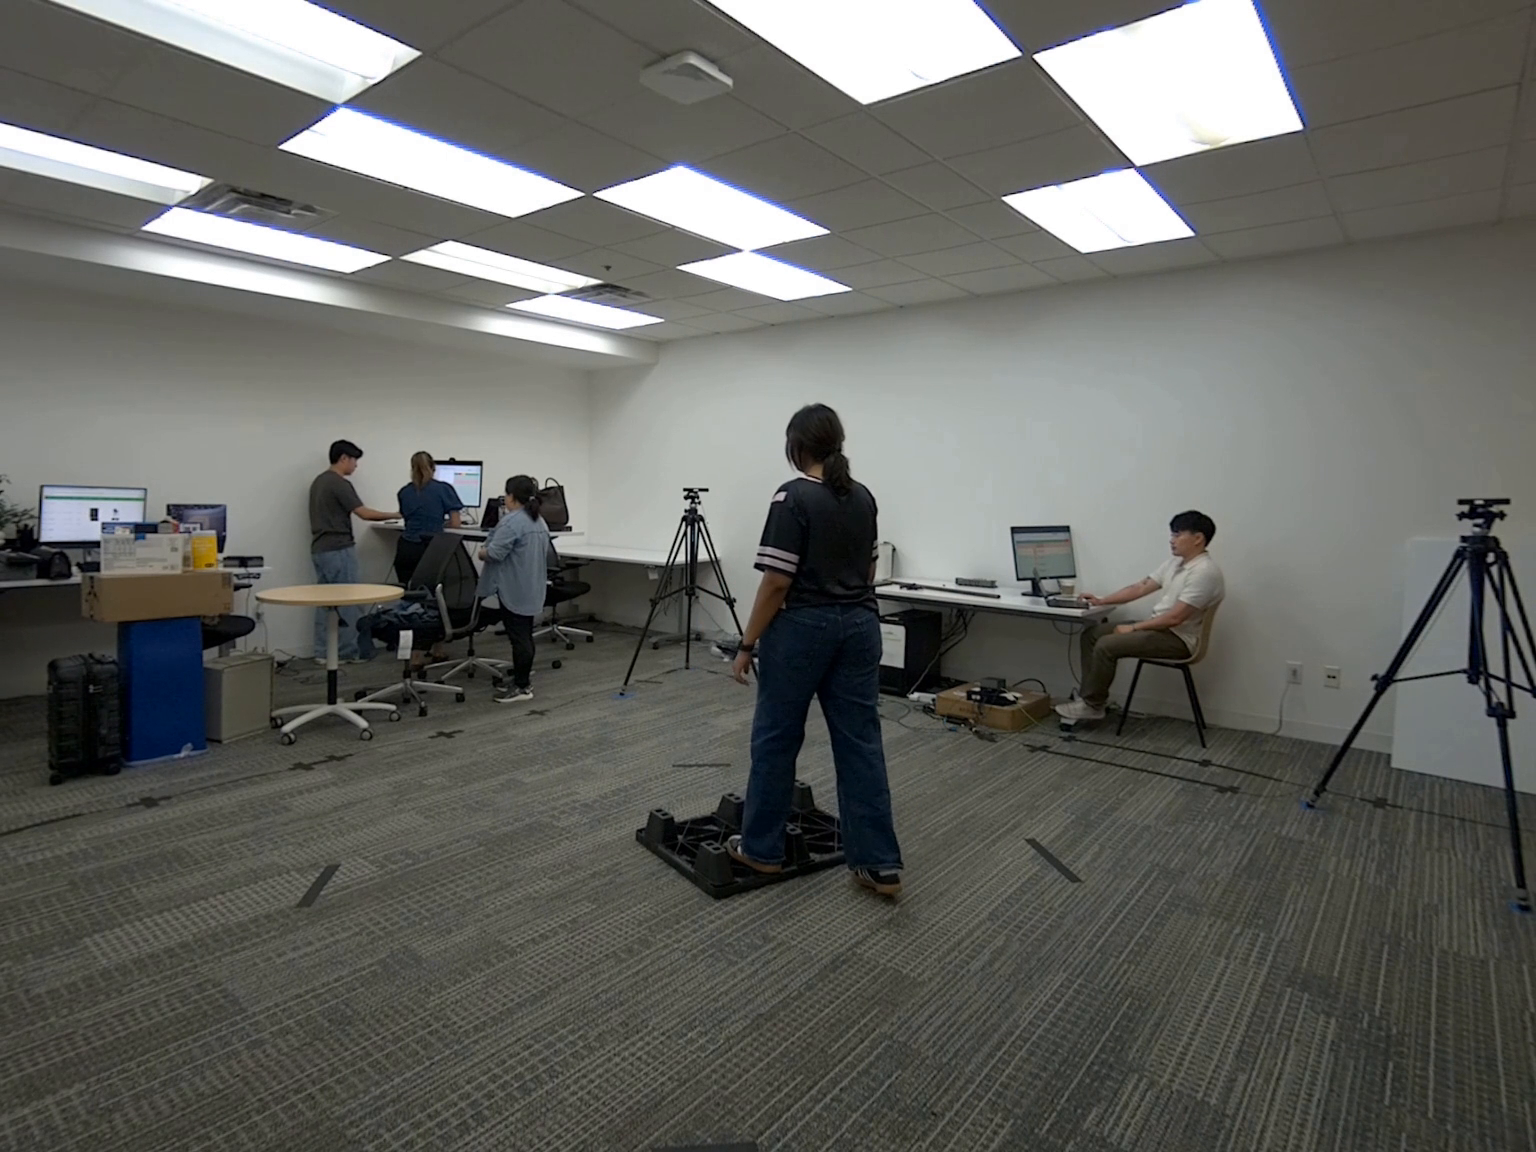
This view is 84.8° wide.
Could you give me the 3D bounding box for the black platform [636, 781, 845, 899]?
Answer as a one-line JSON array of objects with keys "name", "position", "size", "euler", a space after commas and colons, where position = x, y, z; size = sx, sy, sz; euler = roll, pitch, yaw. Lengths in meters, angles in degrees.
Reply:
[{"name": "black platform", "position": [-0.045, 0.987, 3.323], "size": [0.783, 0.143, 0.625], "euler": [-3, 6, -35]}]
